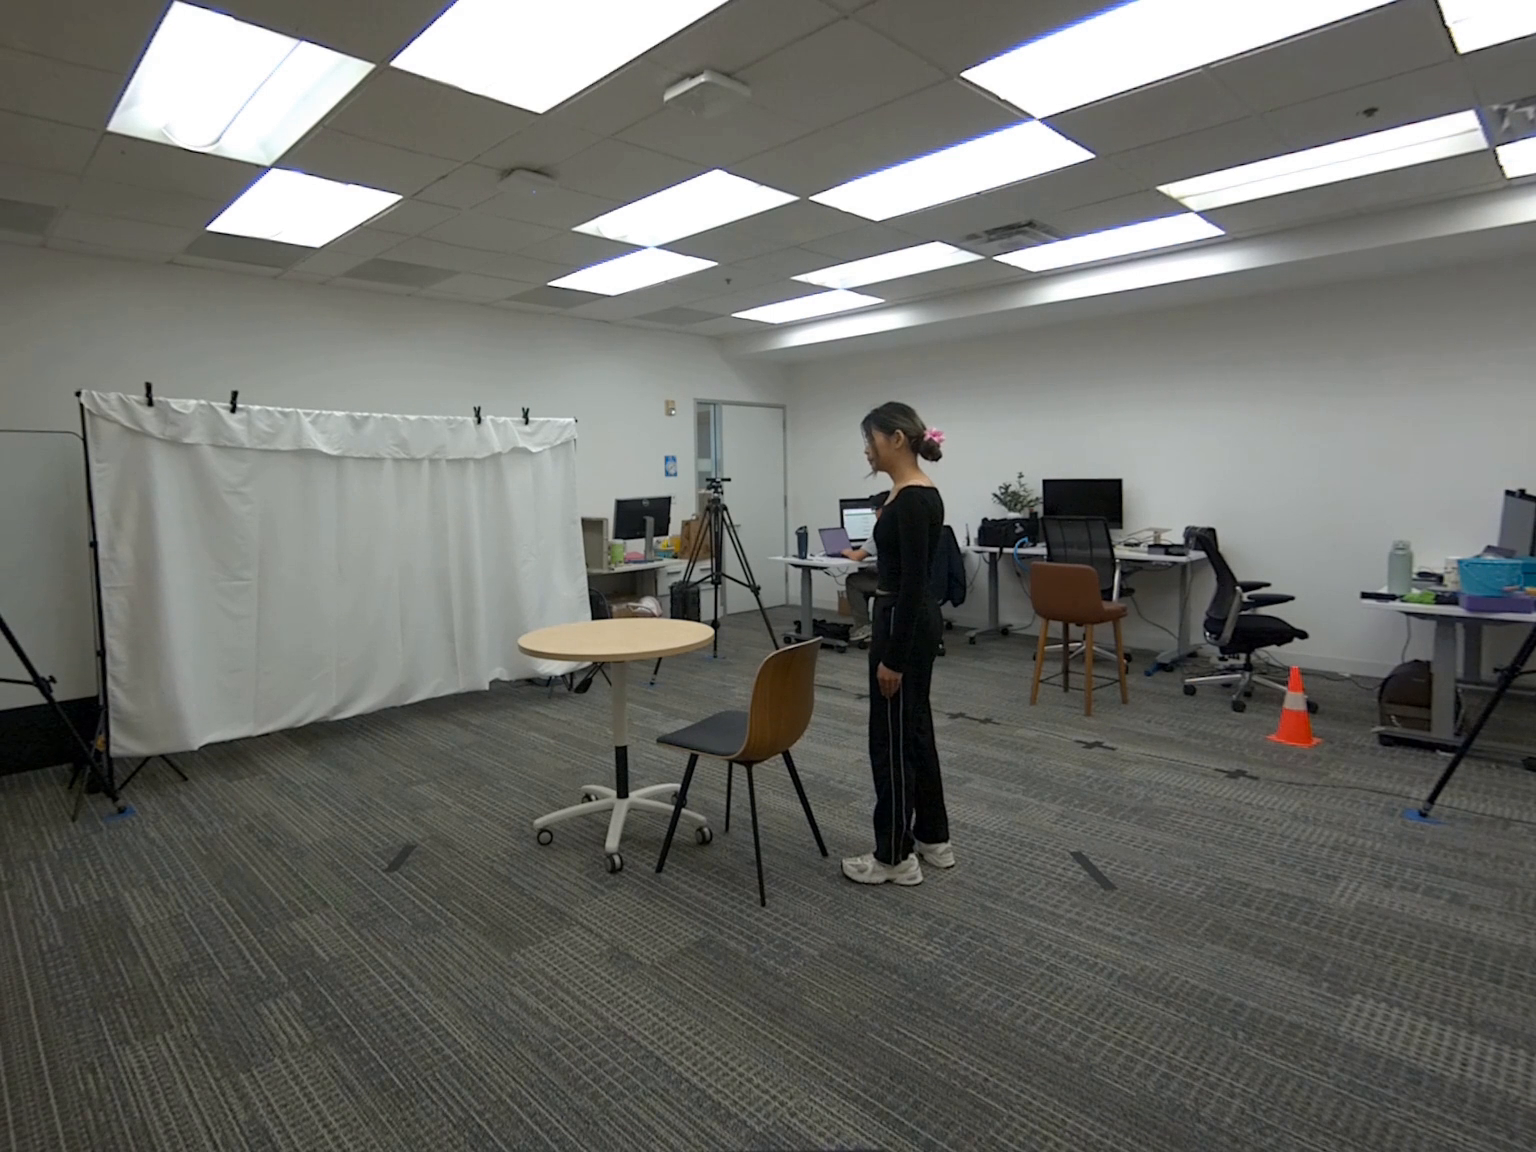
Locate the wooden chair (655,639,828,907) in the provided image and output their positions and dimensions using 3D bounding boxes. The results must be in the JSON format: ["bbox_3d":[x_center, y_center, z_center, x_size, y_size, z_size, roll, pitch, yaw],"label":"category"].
[{"bbox_3d":[-0.100,0.619,3.058,0.539,0.872,0.467,7,8,33],"label":"wooden chair"}]
